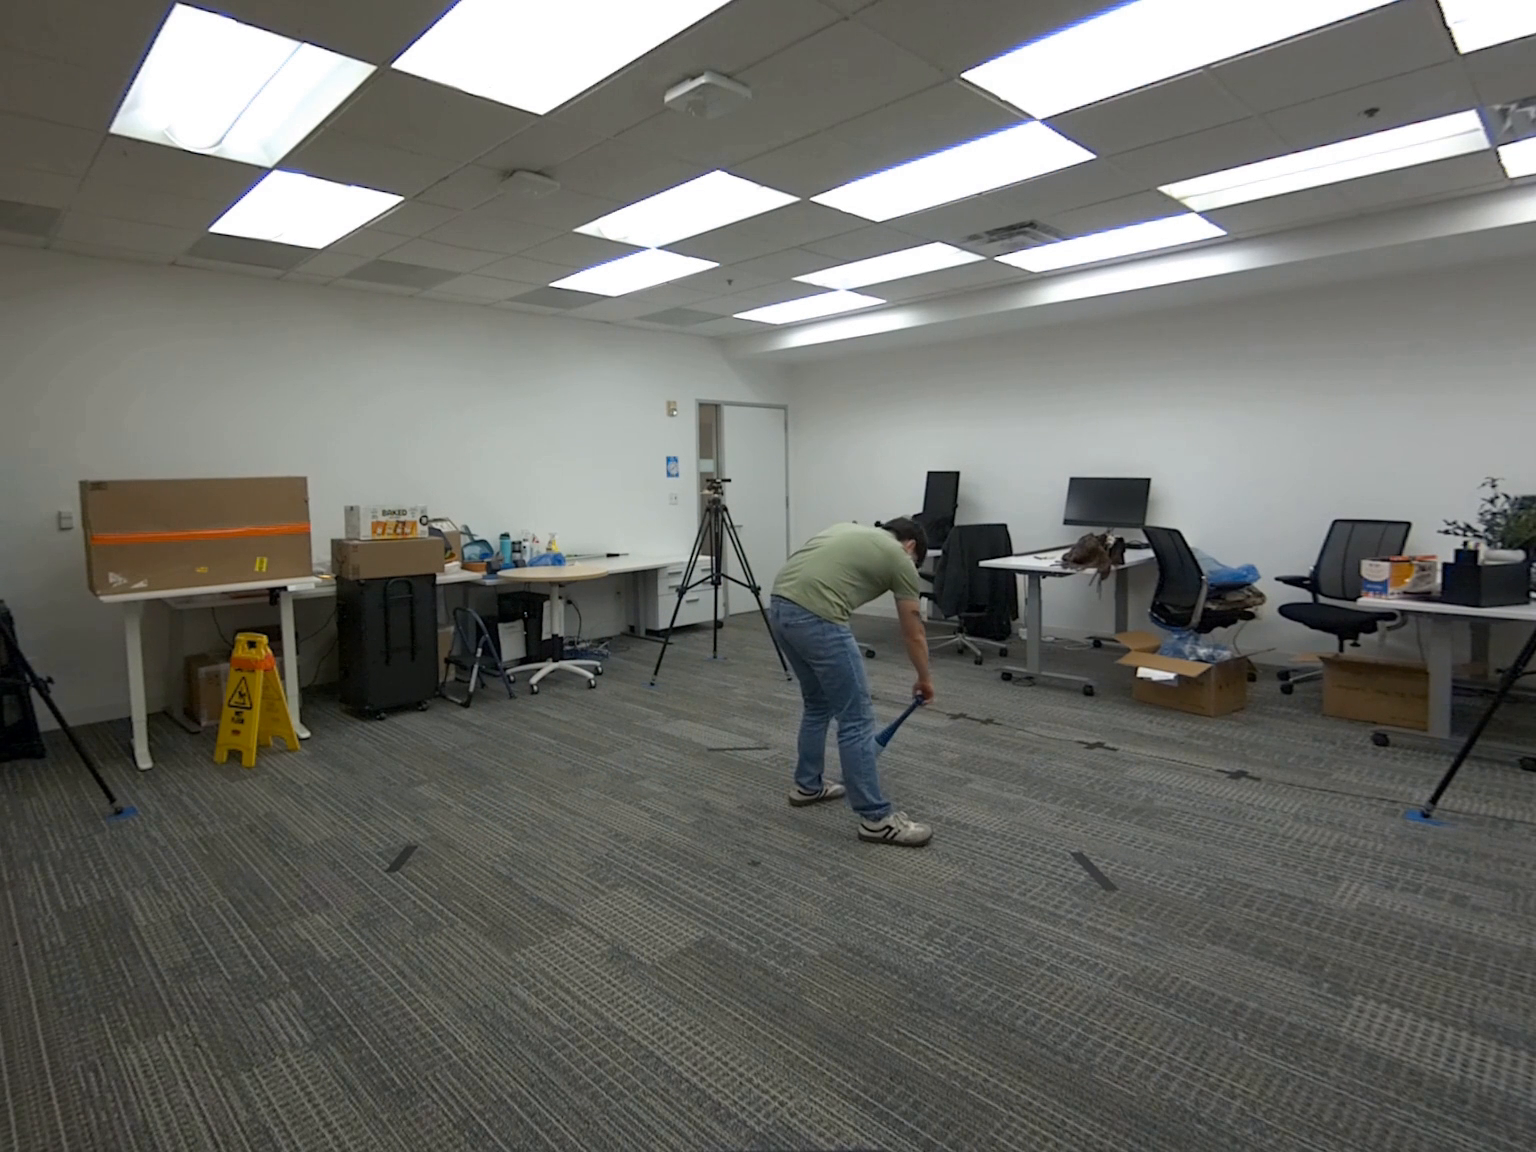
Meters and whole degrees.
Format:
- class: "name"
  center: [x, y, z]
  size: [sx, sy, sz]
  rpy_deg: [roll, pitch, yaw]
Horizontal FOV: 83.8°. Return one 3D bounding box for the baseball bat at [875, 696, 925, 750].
- class: "baseball bat"
  center: [0.517, 0.733, 3.826]
  size: [0.087, 0.542, 0.091]
  rpy_deg: [32, 21, -16]
